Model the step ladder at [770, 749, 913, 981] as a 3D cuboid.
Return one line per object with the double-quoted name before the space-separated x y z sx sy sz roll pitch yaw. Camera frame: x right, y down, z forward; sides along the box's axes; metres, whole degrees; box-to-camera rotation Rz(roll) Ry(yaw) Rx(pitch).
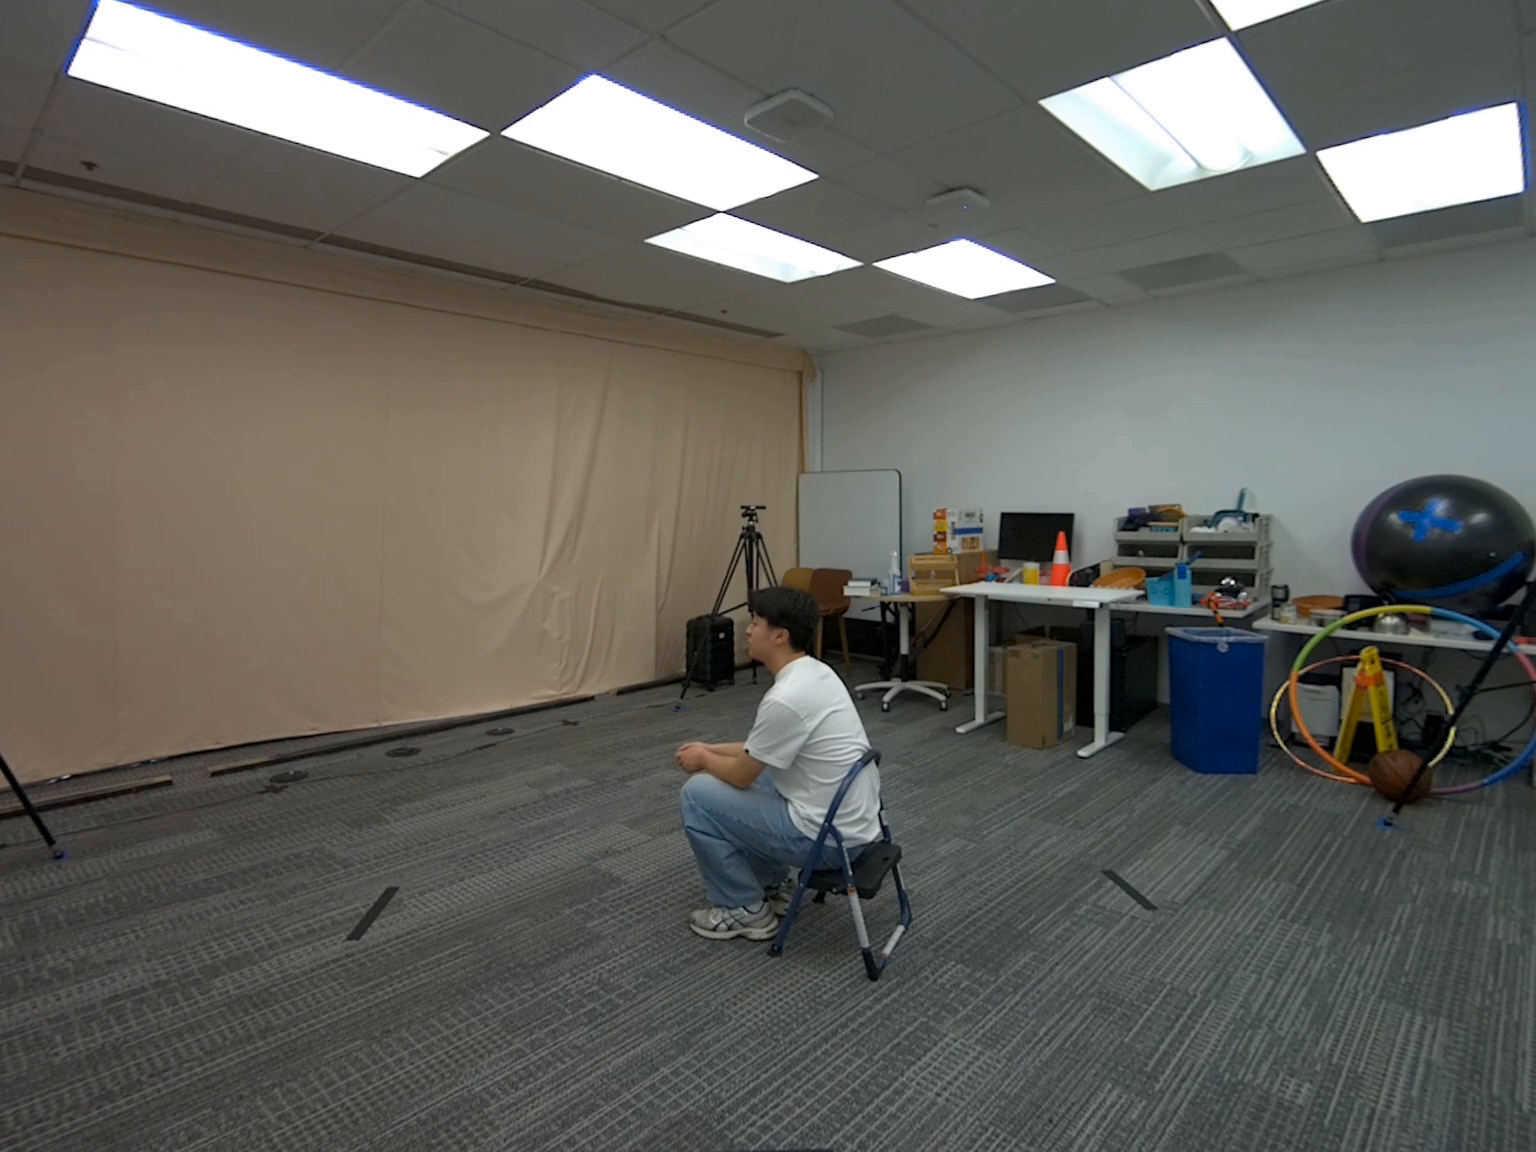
"step ladder" 0.251 0.869 2.694 0.358 0.604 0.420 2 5 26
